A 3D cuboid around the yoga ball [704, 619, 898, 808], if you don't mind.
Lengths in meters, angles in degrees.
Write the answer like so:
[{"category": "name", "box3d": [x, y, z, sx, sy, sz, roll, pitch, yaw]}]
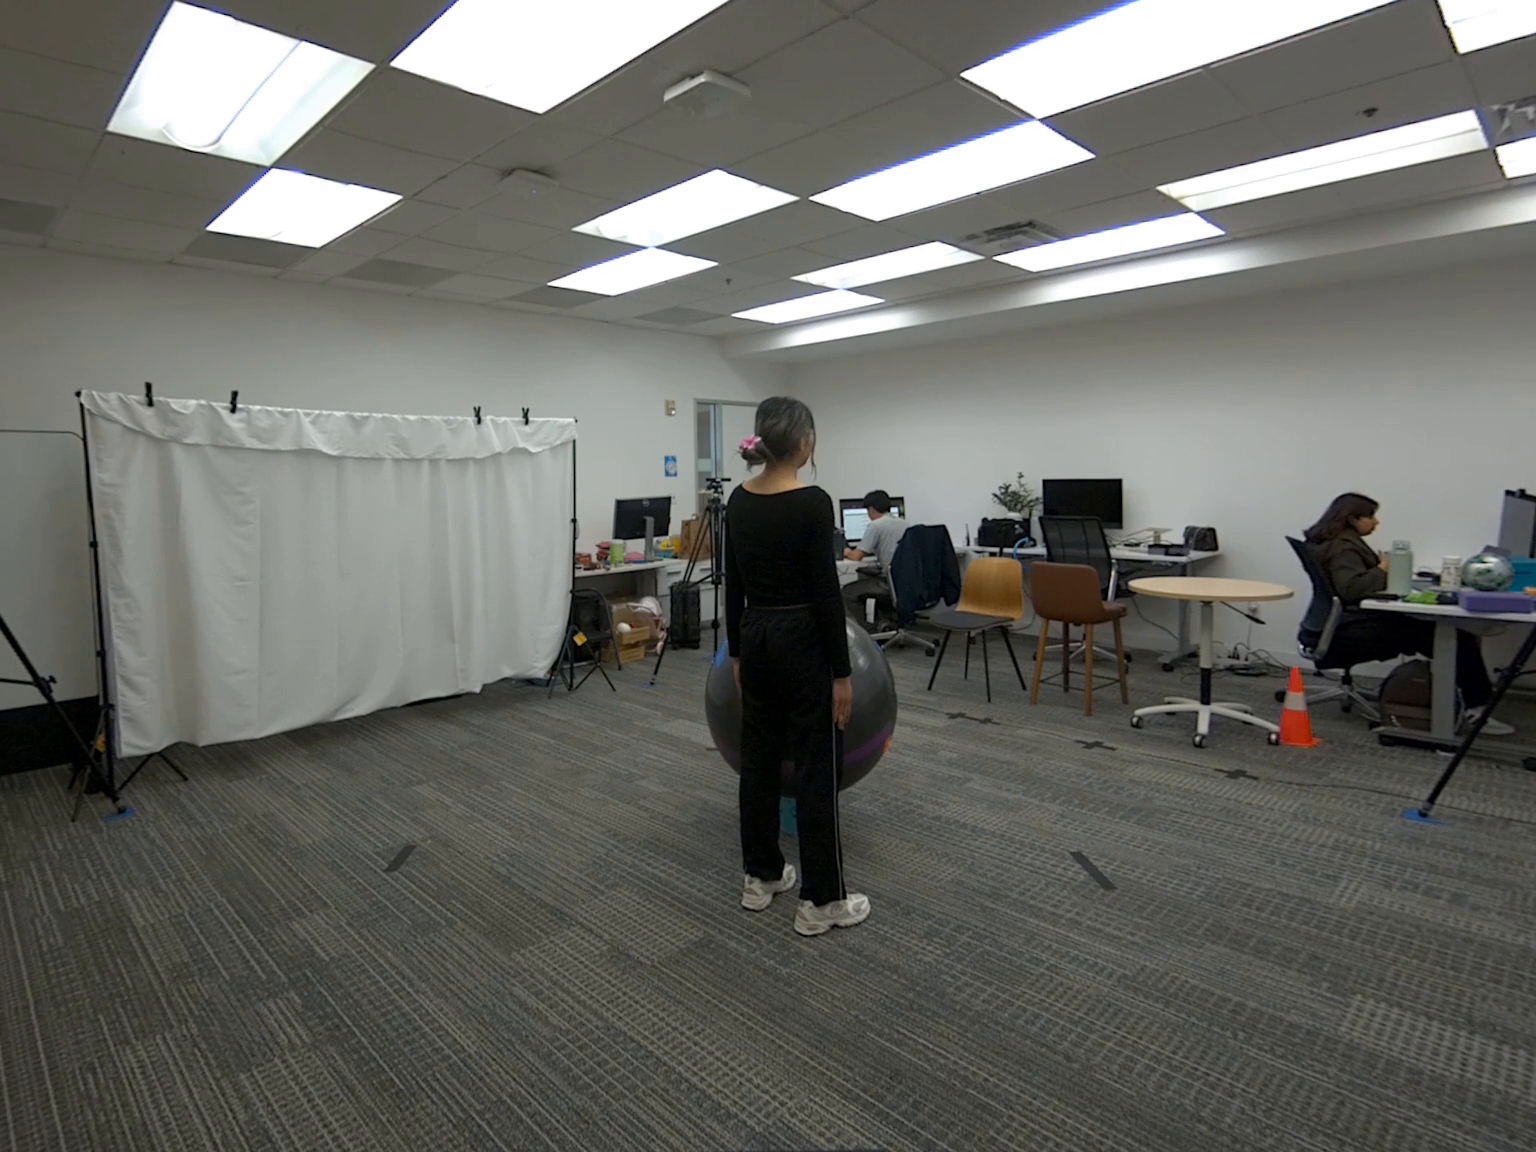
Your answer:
[{"category": "yoga ball", "box3d": [0.130, 0.494, 3.401, 0.757, 0.755, 0.762, -1, 5, -2]}]
